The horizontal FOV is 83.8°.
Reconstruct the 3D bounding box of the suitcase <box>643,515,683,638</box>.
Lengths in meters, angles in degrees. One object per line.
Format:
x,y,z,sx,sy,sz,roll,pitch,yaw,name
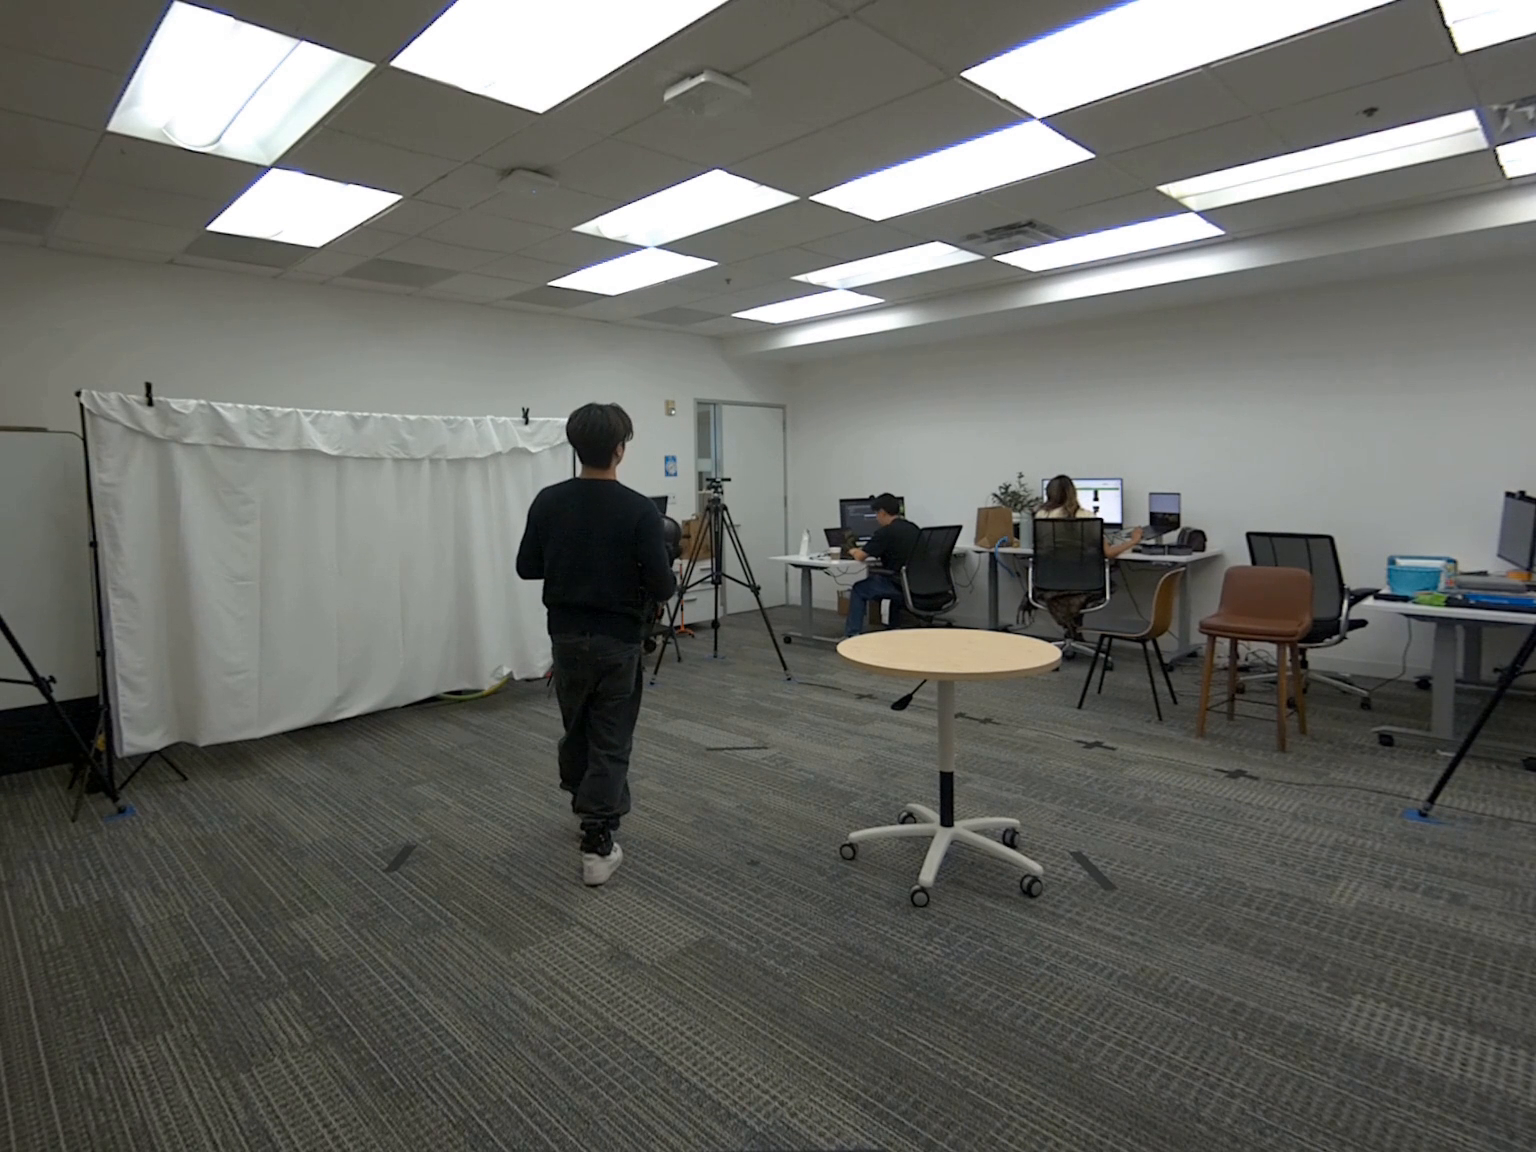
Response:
-0.569,-0.013,3.344,0.380,0.548,0.246,17,3,9,suitcase
